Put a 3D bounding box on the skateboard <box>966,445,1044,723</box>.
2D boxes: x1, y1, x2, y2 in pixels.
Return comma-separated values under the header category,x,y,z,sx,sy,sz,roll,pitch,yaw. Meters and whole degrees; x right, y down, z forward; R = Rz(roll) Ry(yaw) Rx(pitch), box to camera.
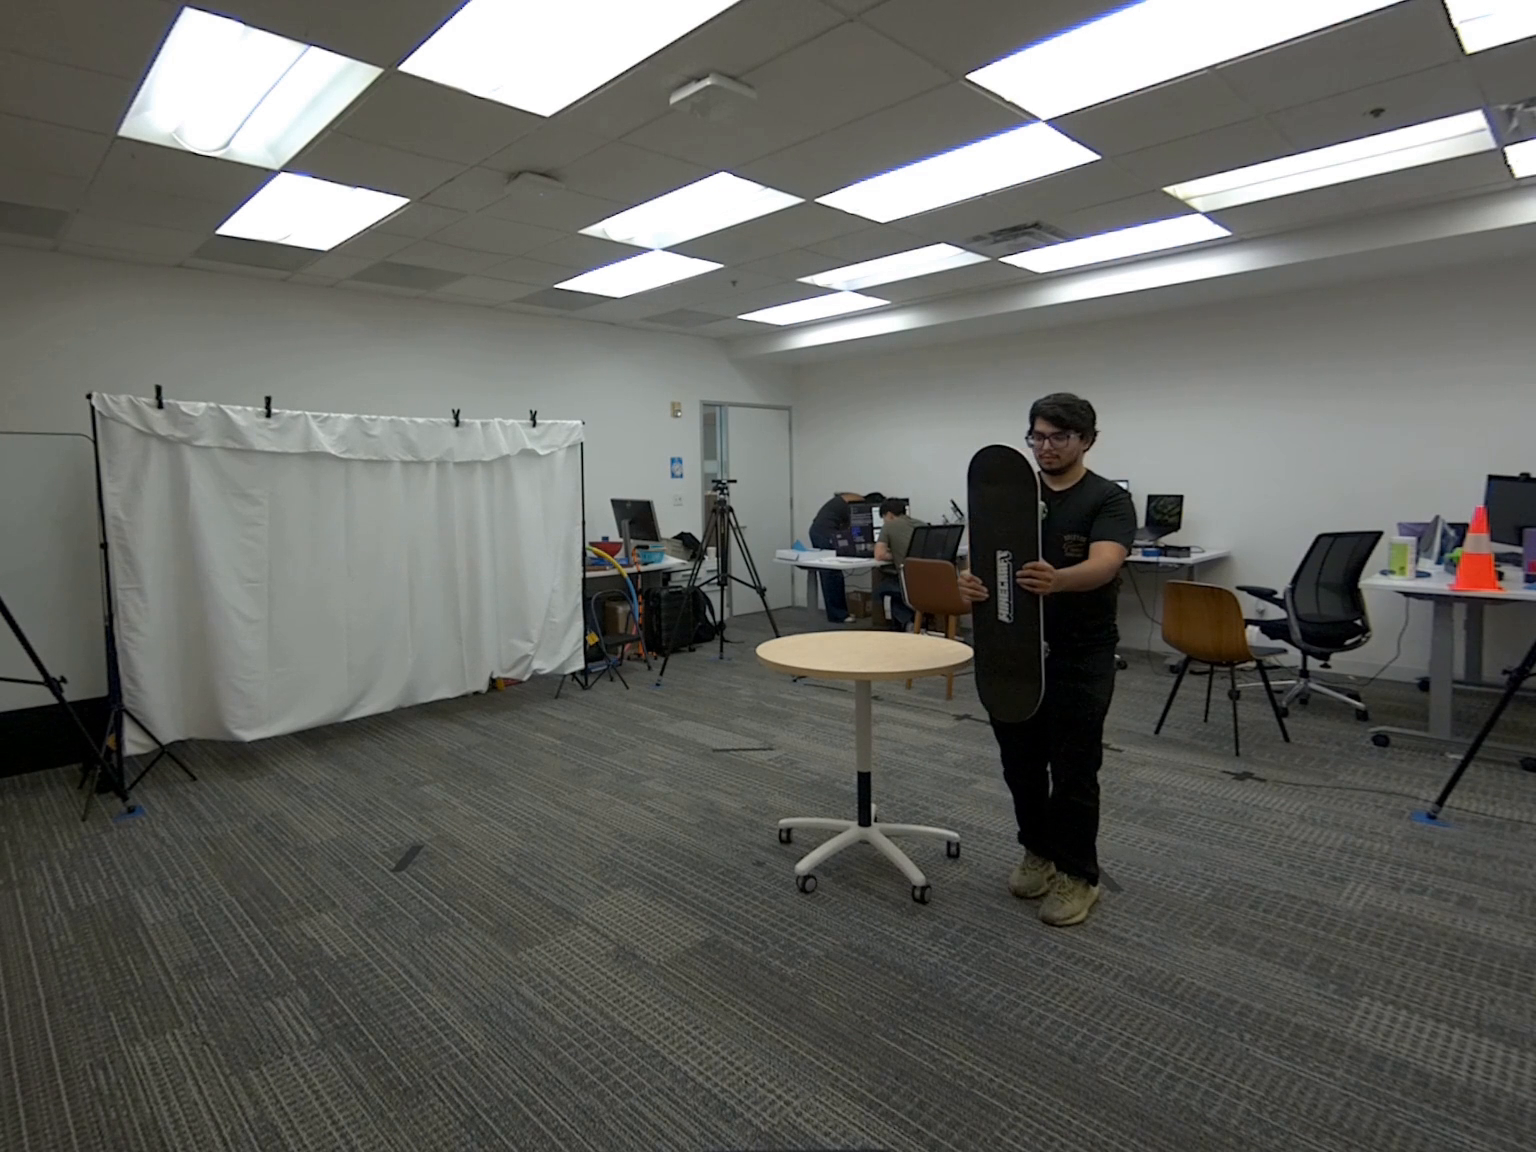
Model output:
category,x,y,z,sx,sy,sz,roll,pitch,yaw
skateboard,0.666,0.021,2.354,0.199,0.775,0.108,4,16,34
